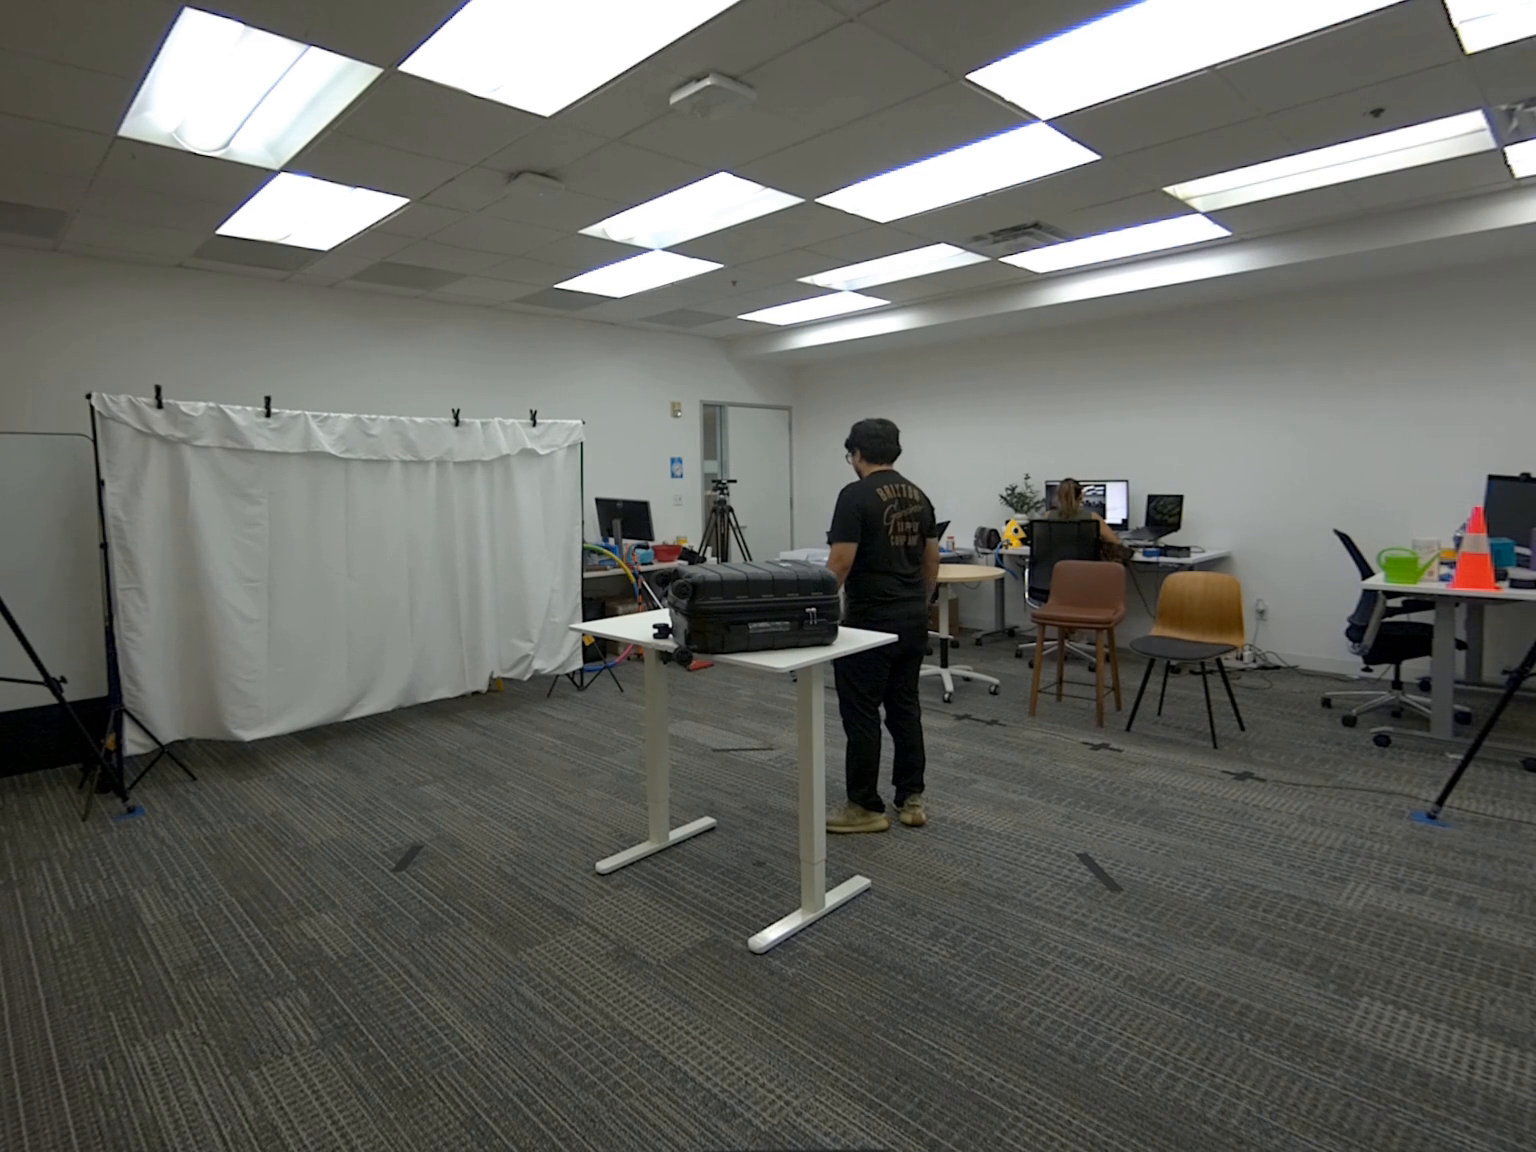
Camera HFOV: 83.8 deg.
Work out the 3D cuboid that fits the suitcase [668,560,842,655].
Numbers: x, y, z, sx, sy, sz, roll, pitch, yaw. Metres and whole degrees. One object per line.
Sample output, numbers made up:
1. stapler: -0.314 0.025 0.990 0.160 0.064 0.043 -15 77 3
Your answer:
1. suitcase: -0.064 0.096 2.721 0.541 0.247 0.383 -3 7 -18
